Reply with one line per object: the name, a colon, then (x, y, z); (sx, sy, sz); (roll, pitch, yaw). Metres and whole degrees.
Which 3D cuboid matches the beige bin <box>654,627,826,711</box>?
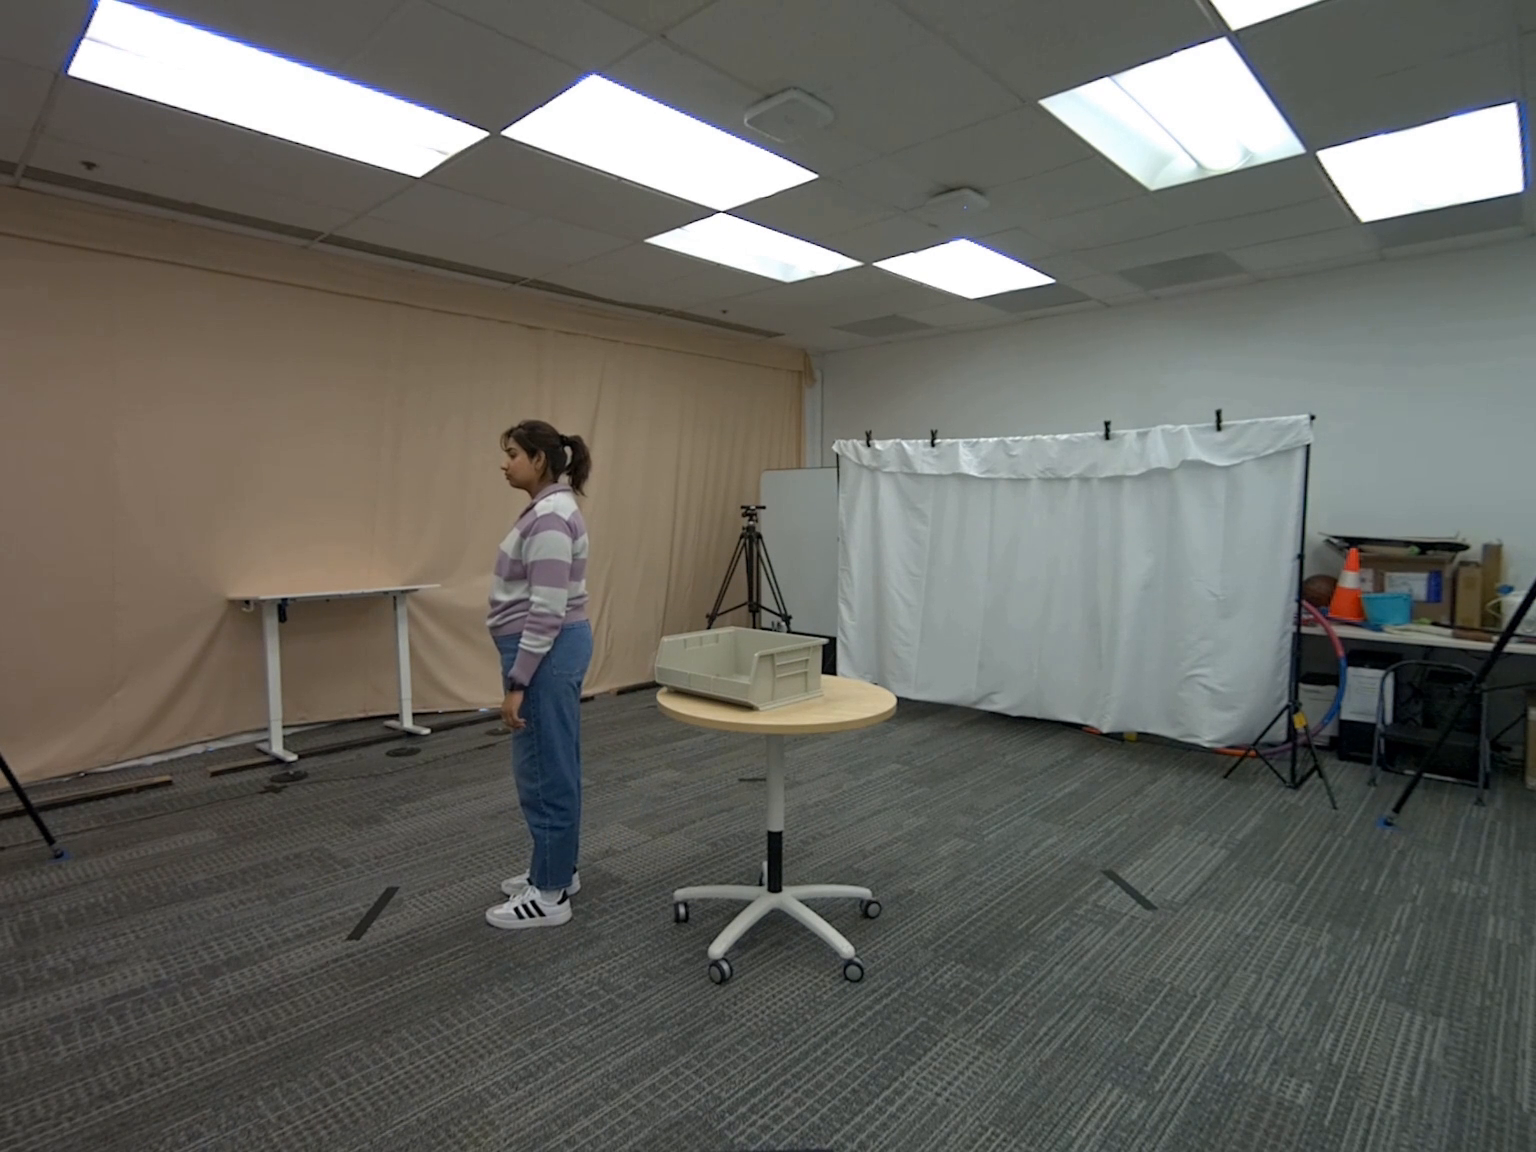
beige bin: (-0.082, 0.296, 2.713); (0.436, 0.189, 0.365); (3, 4, 43)
